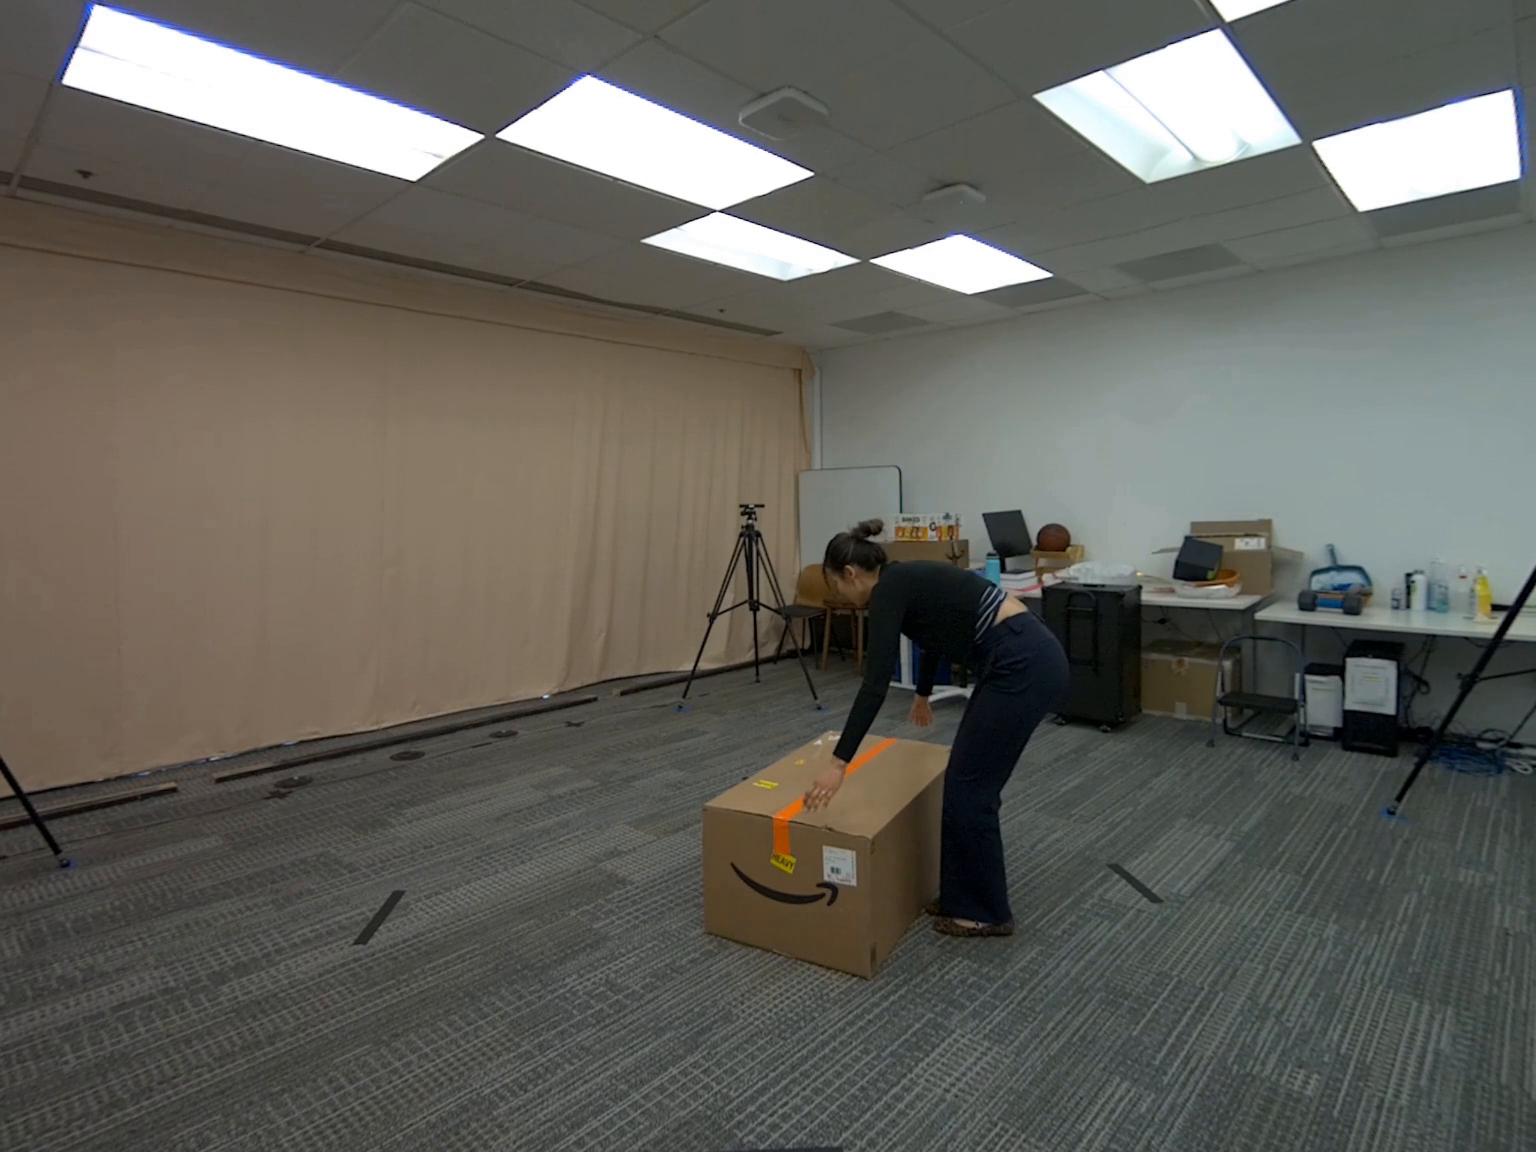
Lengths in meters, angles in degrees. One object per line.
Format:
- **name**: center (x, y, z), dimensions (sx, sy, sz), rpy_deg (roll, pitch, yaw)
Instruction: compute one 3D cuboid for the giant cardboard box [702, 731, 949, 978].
- **giant cardboard box**: center (0.280, 0.918, 3.020), dimensions (0.594, 0.425, 1.000), rpy_deg (3, 6, 28)
